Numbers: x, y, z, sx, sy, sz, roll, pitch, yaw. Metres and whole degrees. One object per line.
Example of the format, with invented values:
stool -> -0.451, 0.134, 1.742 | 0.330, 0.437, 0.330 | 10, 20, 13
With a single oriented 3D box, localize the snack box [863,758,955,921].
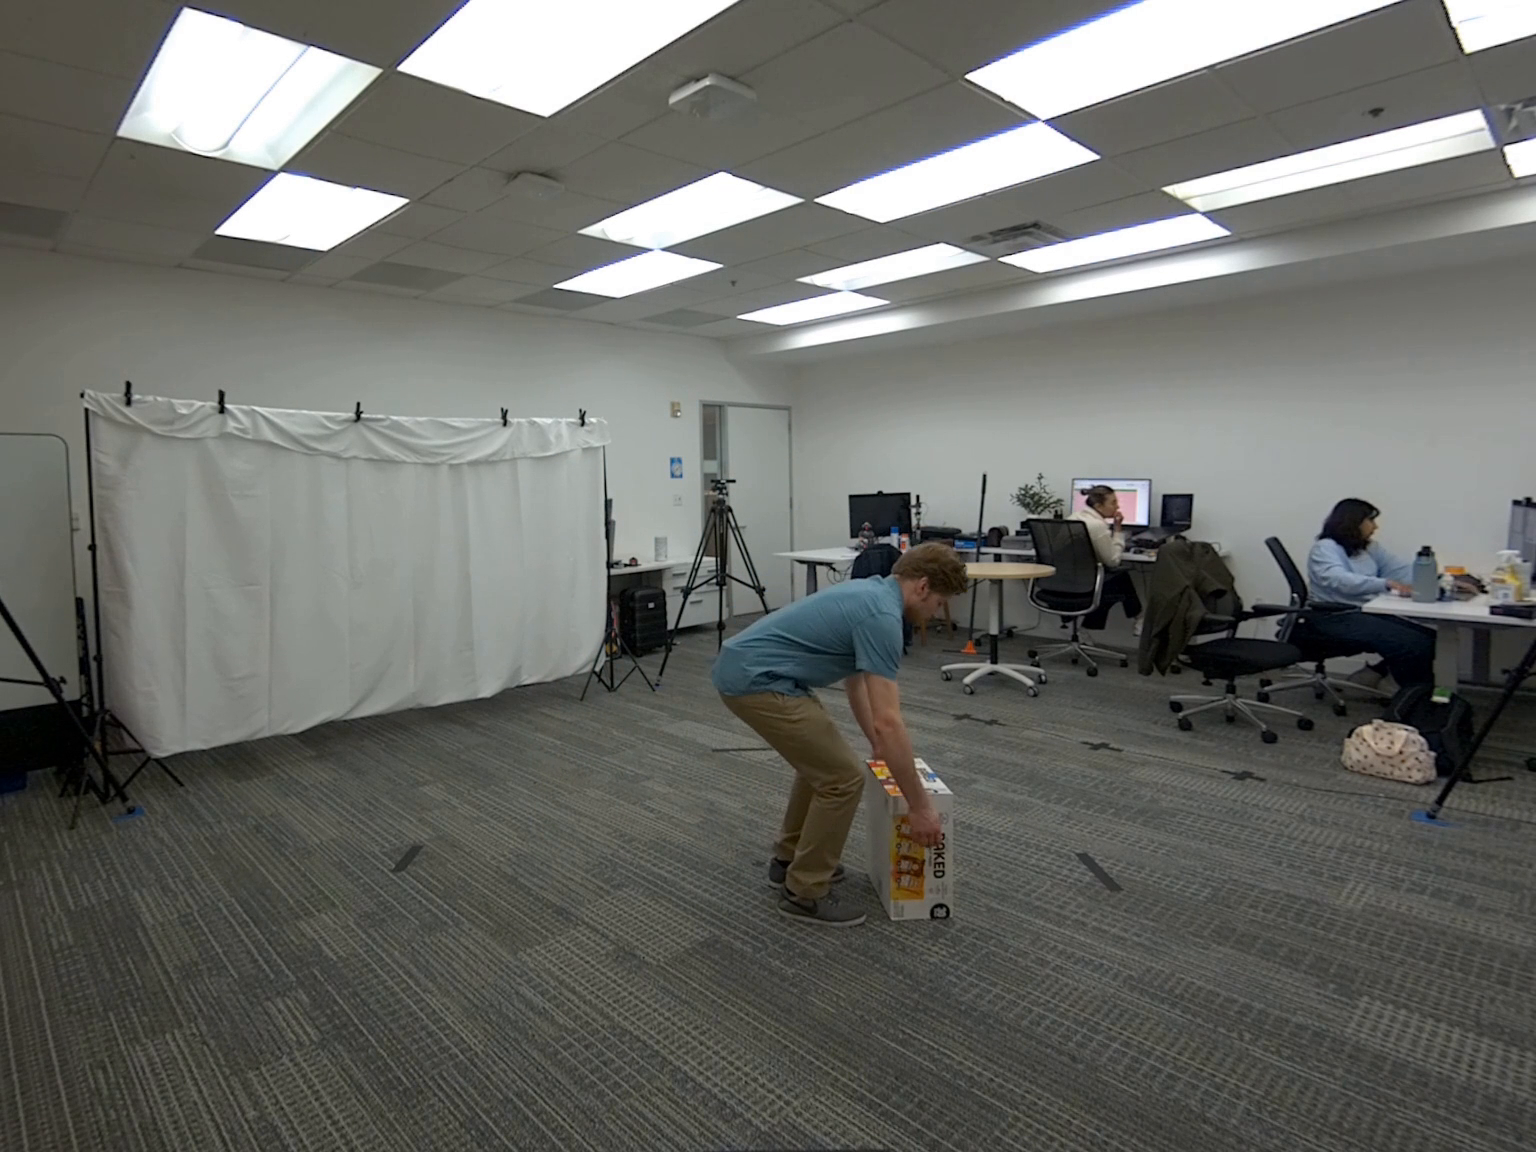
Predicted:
snack box -> 0.460, 0.866, 2.851 | 0.204, 0.403, 0.344 | -1, 5, -7
